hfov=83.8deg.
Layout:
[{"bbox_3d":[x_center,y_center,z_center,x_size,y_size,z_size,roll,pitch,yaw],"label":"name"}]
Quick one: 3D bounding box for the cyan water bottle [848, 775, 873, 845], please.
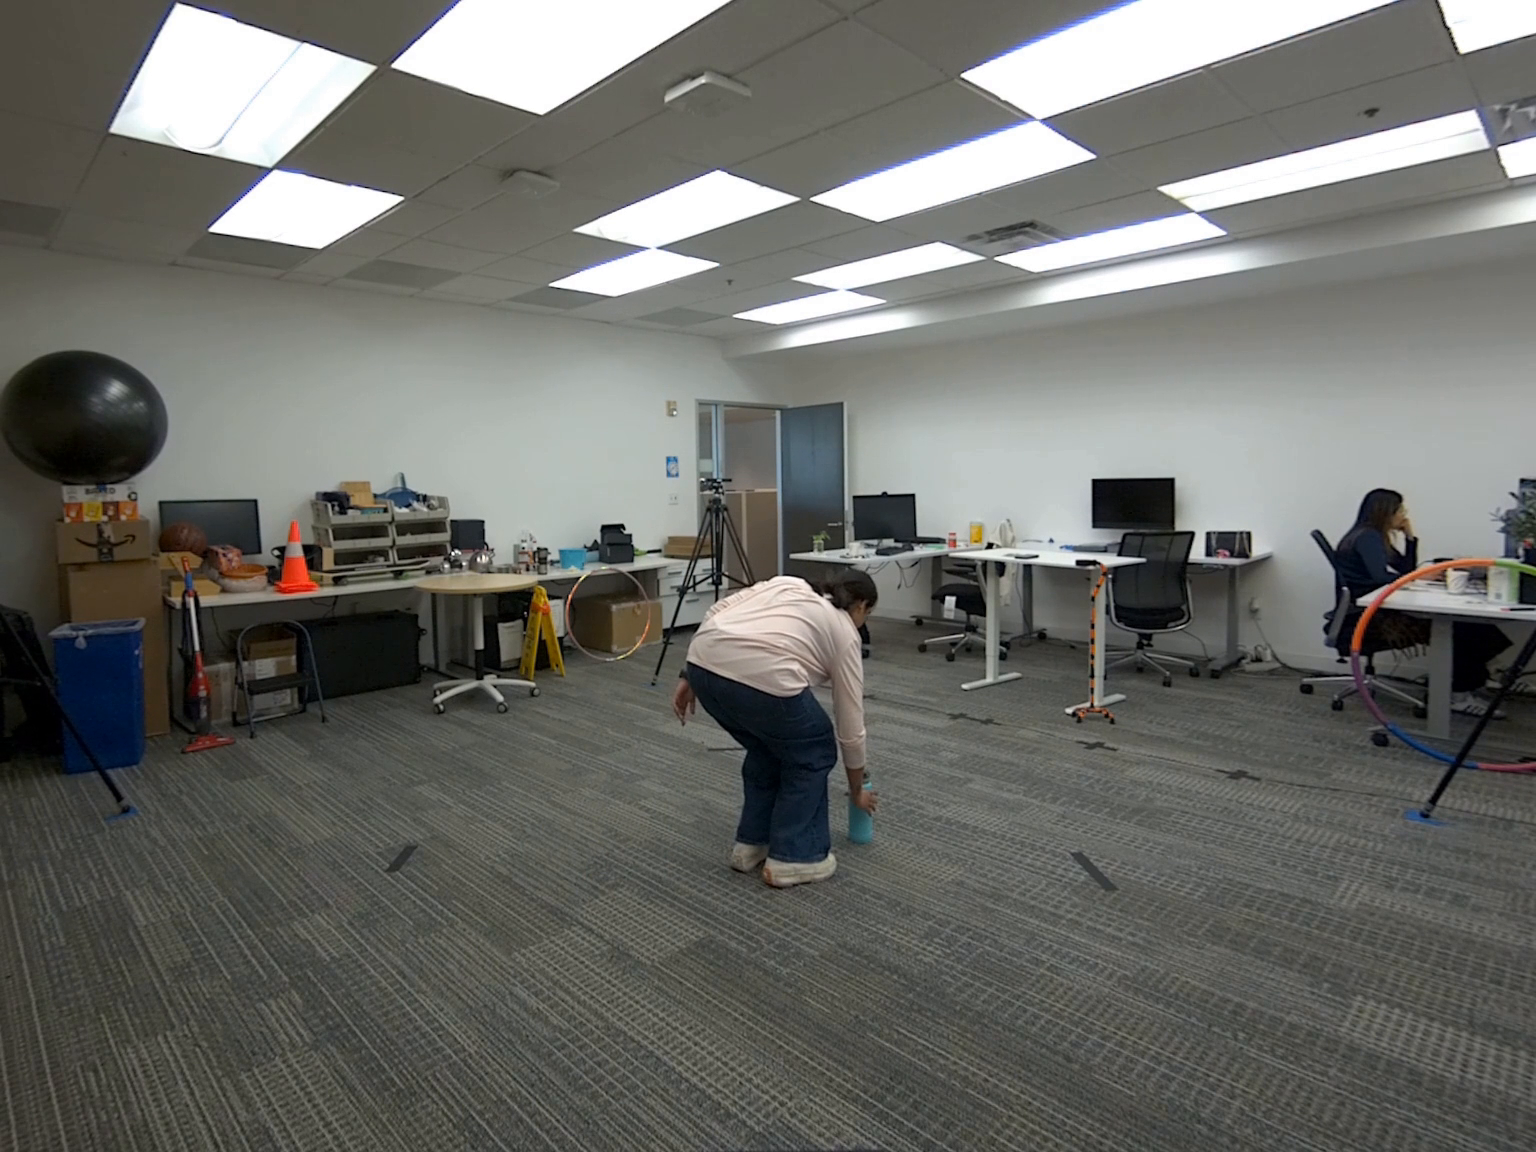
[{"bbox_3d":[0.356,0.874,3.299,0.092,0.283,0.092,-3,1,-2],"label":"cyan water bottle"}]
